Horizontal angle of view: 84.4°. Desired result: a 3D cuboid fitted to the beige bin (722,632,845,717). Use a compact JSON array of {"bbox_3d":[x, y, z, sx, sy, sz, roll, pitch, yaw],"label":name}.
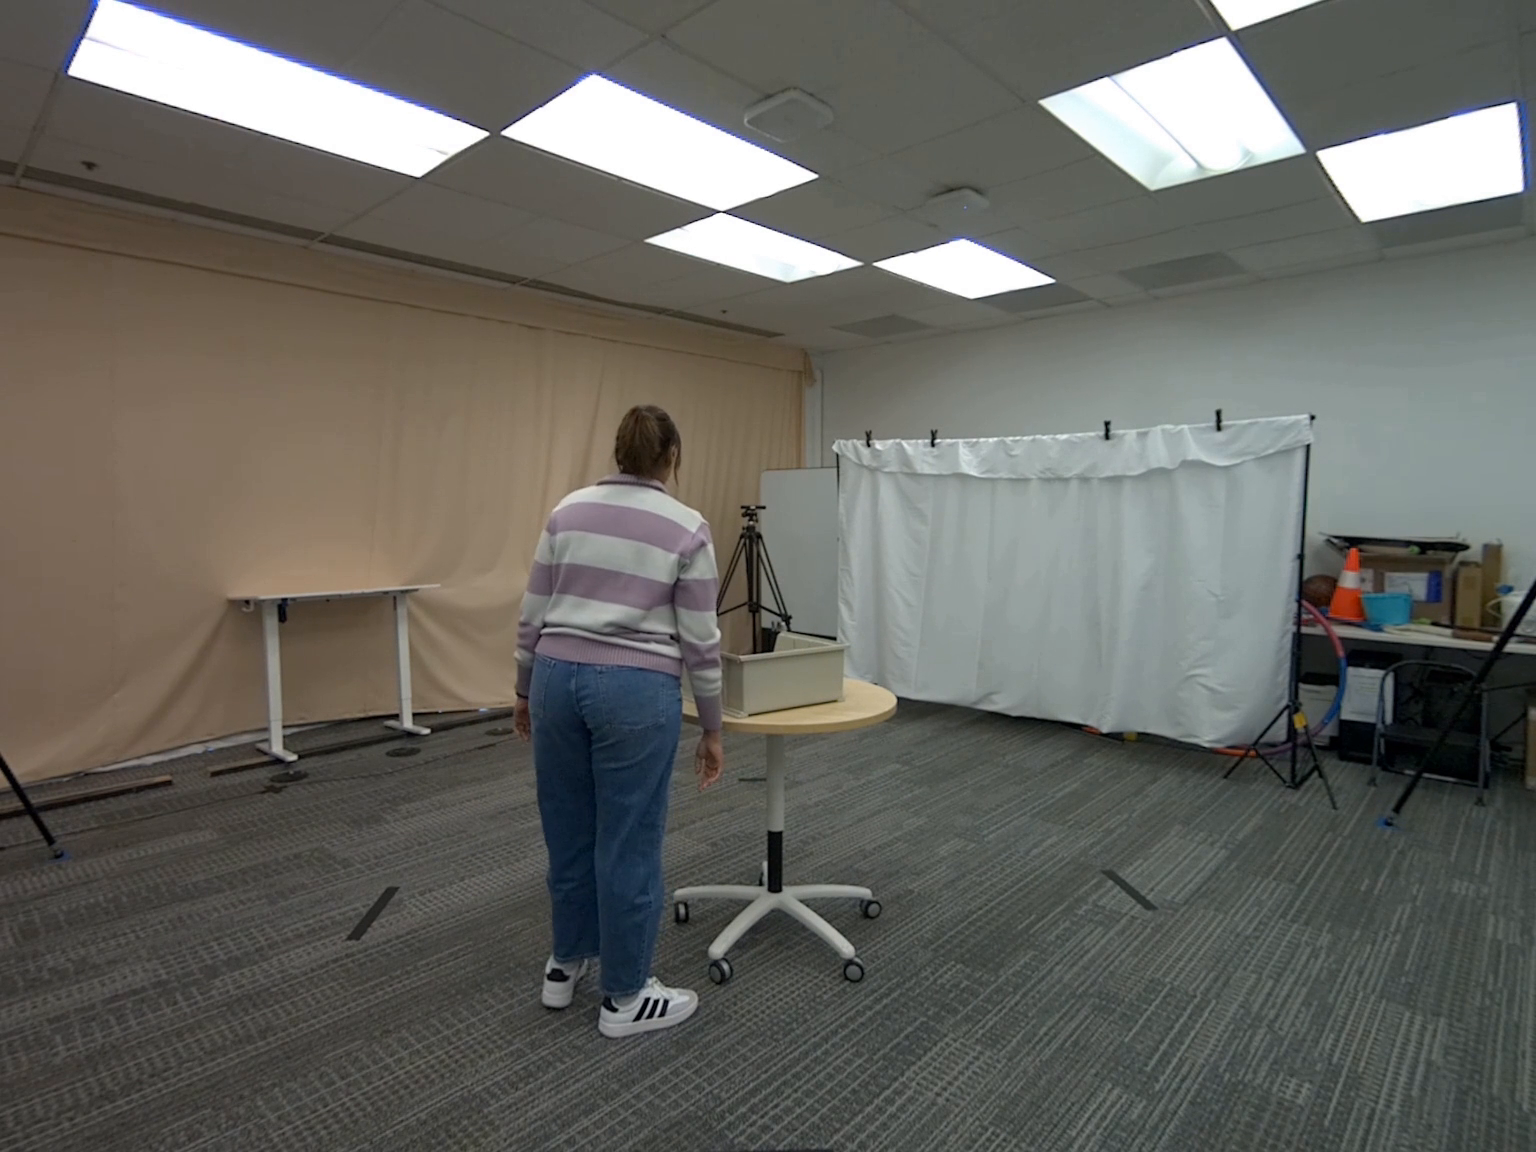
[{"bbox_3d":[-0.024,0.299,2.646,0.410,0.188,0.389,-2,6,-36],"label":"beige bin"}]
